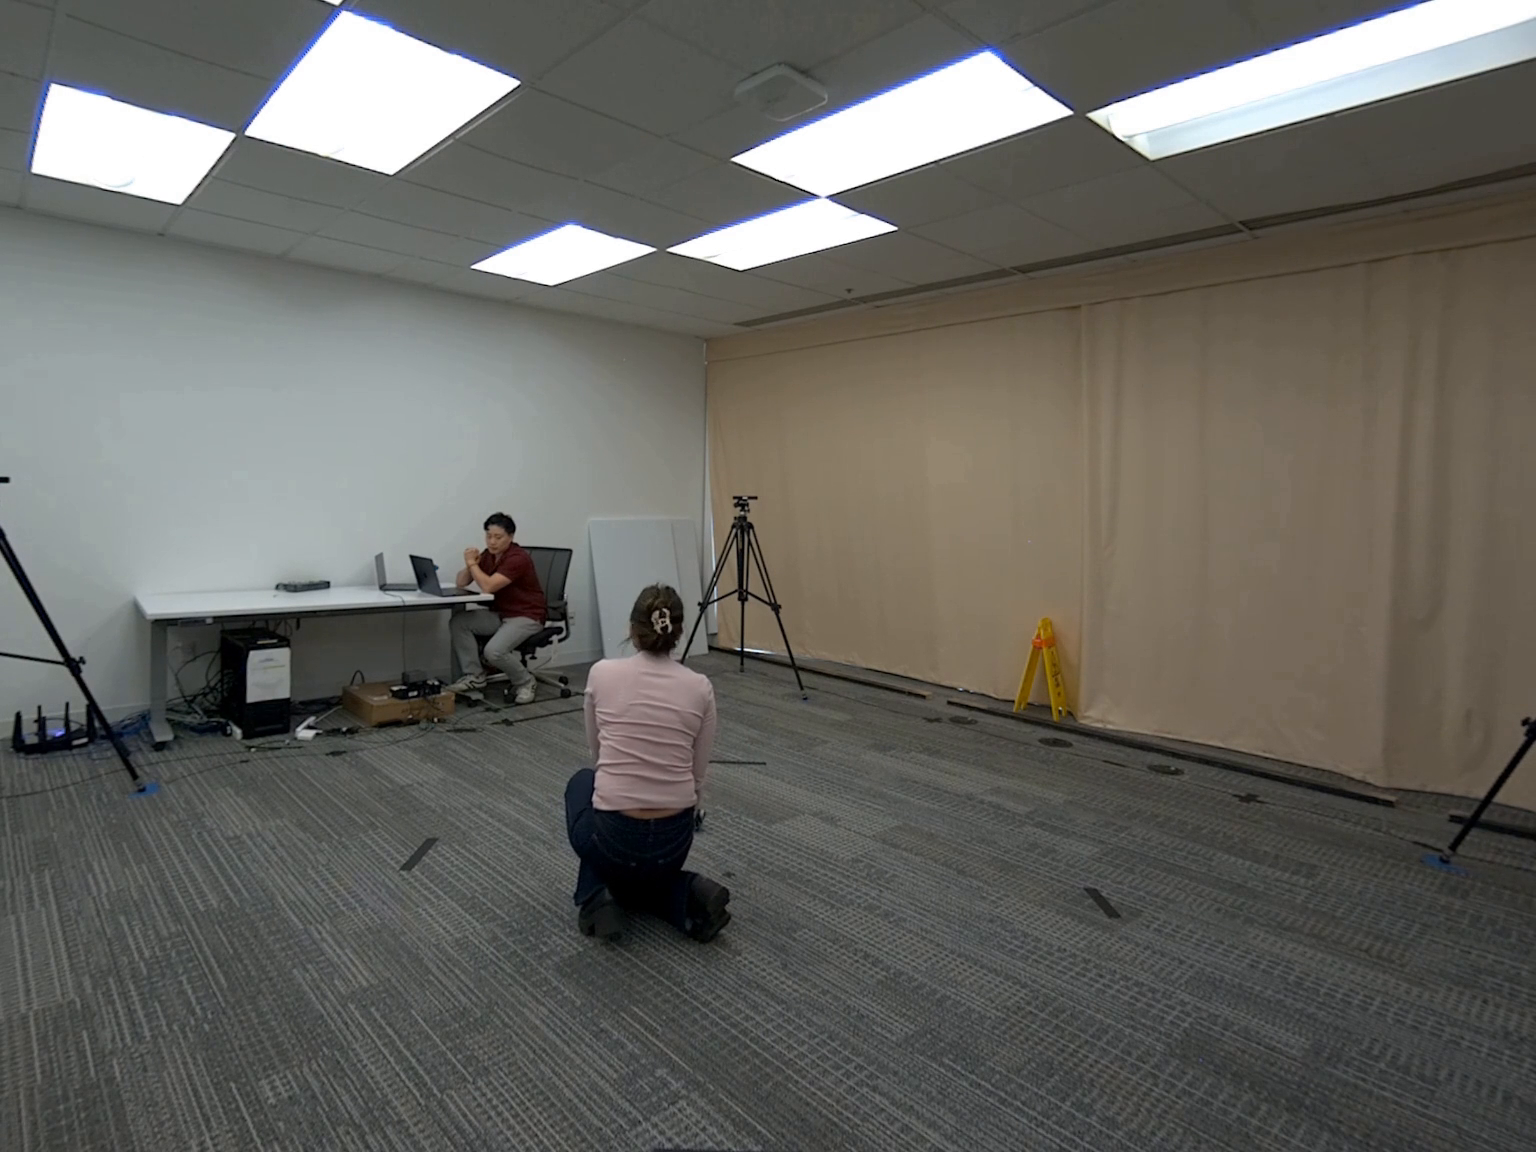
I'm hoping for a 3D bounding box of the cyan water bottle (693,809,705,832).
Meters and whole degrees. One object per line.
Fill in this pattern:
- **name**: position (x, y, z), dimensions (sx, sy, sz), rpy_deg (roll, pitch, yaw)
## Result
- **cyan water bottle**: position (-0.412, 1.013, 3.546), dimensions (0.287, 0.092, 0.091), rpy_deg (3, 4, 15)
